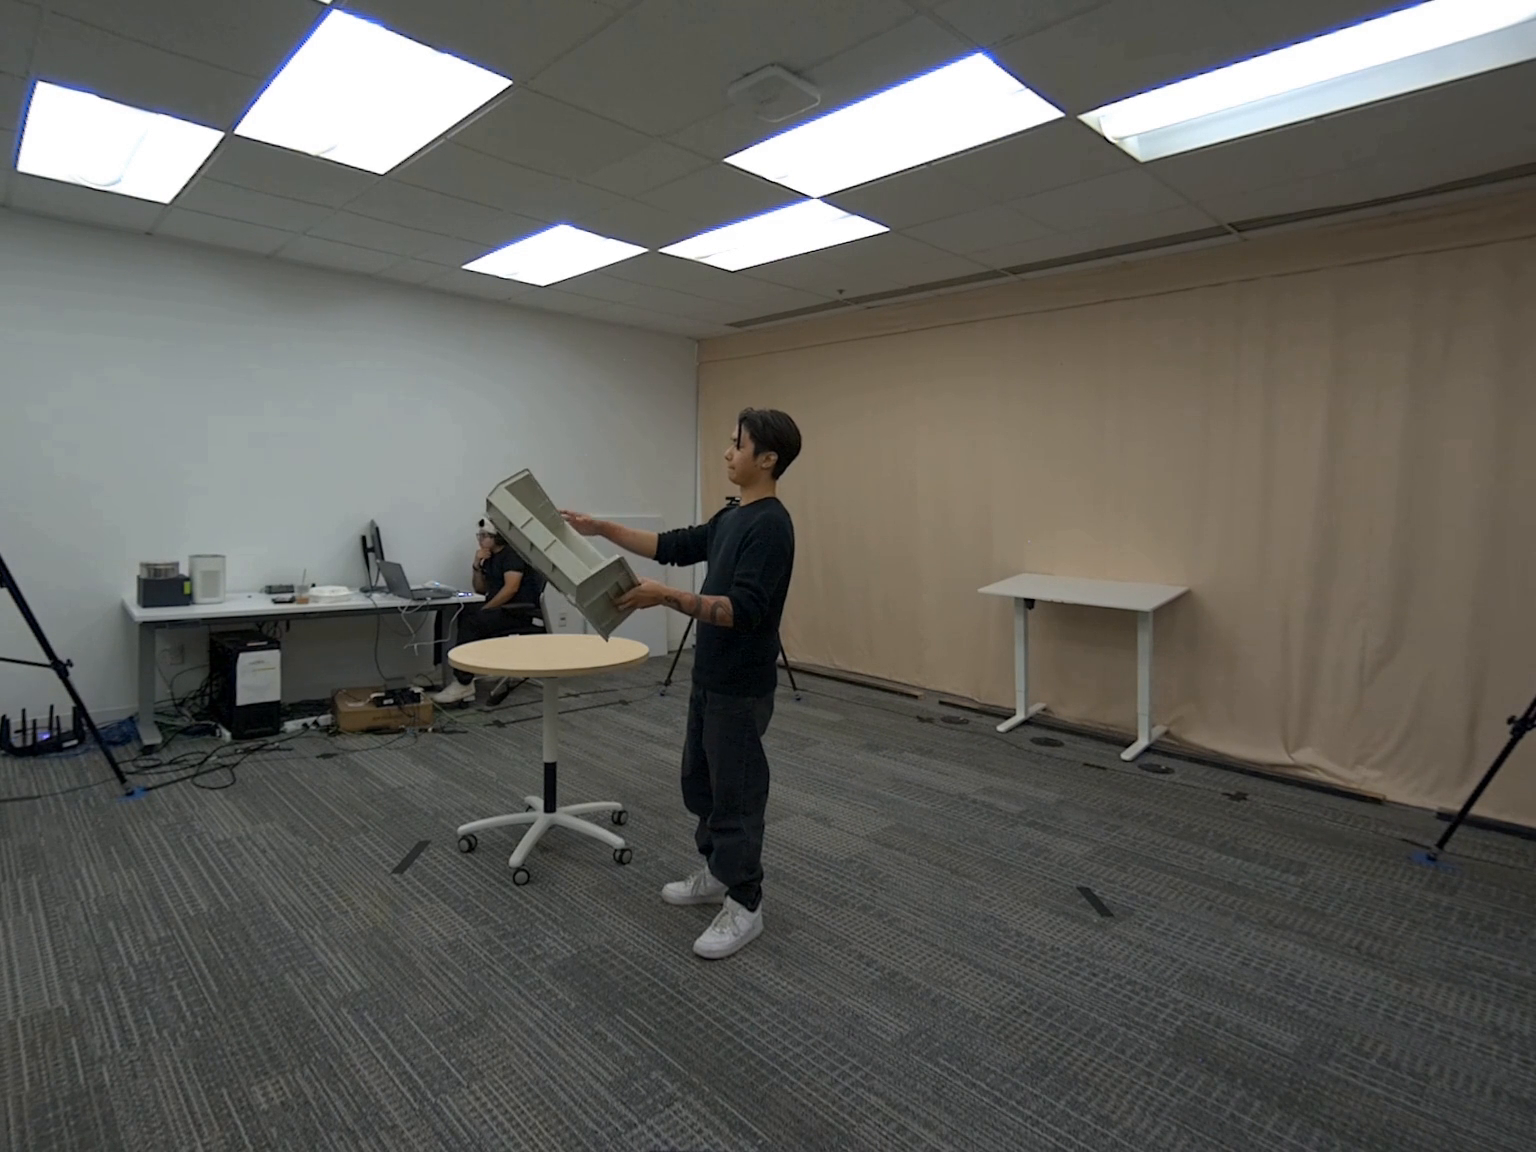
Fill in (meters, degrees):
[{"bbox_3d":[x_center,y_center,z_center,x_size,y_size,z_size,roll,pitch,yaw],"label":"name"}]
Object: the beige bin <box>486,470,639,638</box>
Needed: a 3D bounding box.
[{"bbox_3d":[-0.584,-0.055,2.410,0.432,0.189,0.369,40,-14,22],"label":"beige bin"}]
